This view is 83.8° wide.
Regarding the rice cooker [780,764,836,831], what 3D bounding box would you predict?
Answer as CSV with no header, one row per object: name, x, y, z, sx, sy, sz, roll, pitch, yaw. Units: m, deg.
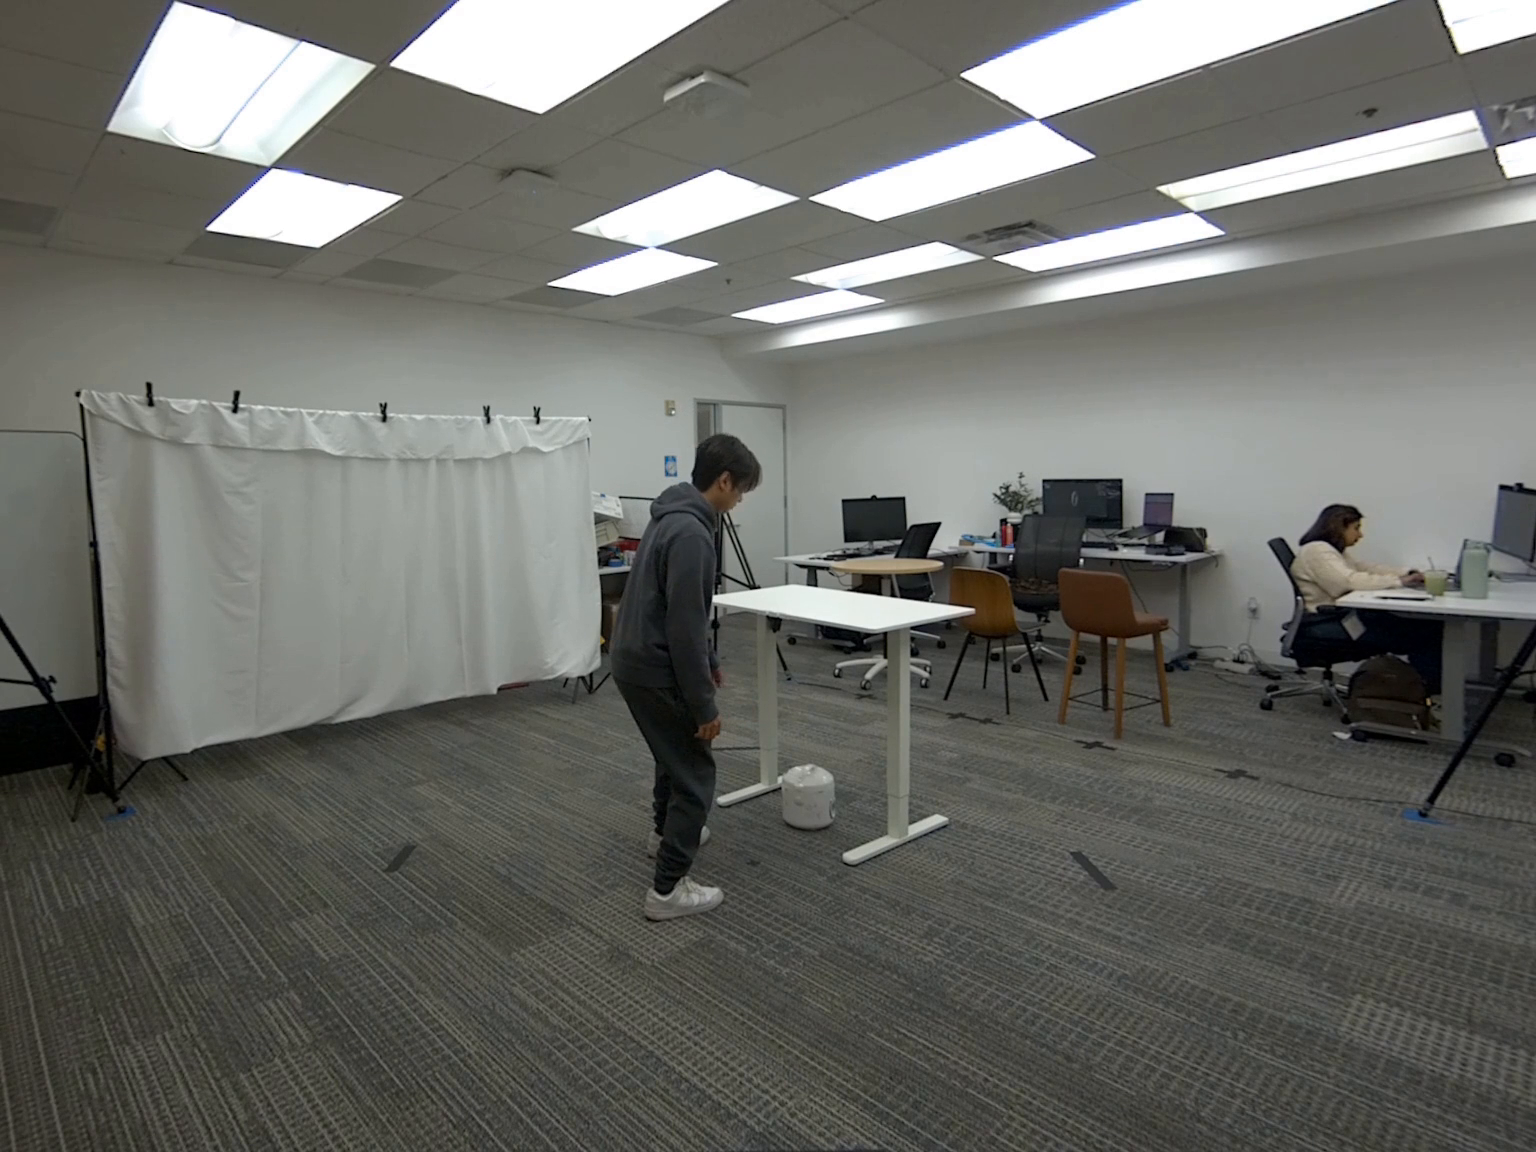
rice cooker,0.167,0.880,3.458,0.223,0.232,0.216,1,5,27
